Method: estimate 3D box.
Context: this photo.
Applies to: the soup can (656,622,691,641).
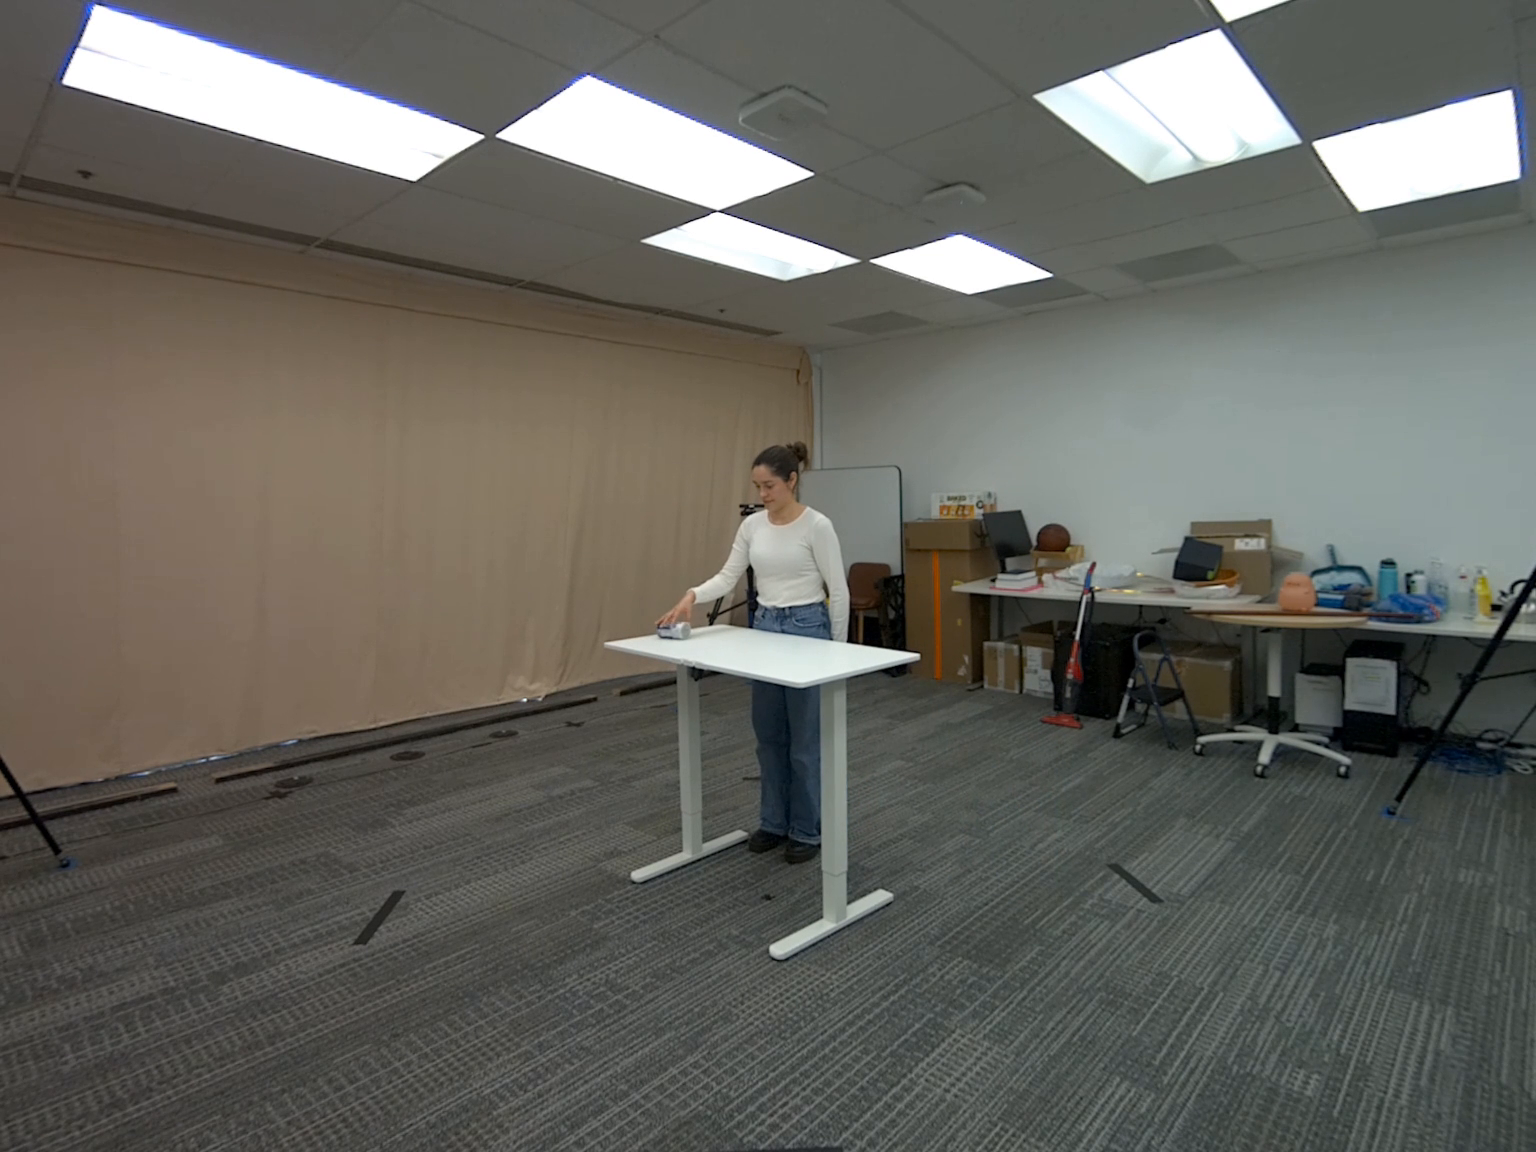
[{"bbox_3d":[-0.359,0.207,3.221,0.125,0.067,0.065,-1,3,30],"label":"soup can"}]
